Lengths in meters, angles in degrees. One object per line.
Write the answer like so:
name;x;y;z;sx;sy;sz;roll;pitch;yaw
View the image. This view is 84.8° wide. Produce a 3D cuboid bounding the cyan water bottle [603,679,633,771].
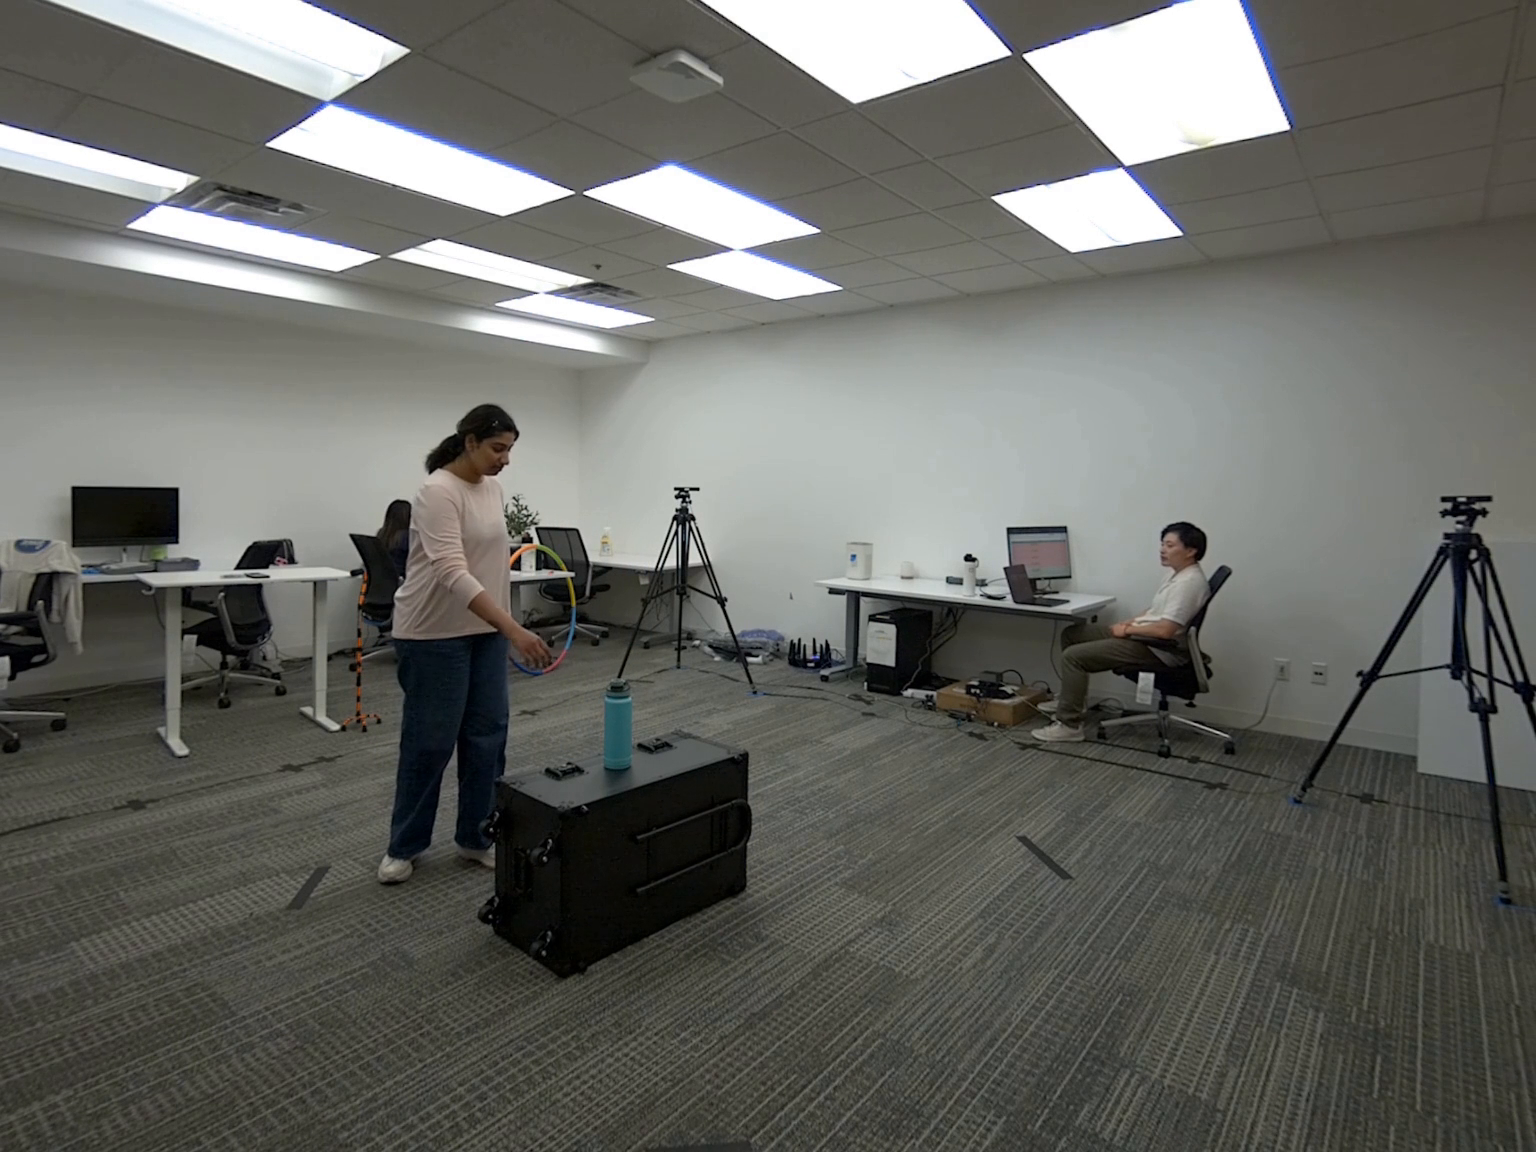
cyan water bottle;-0.501;0.475;2.765;0.092;0.283;0.092;1;2;-2
